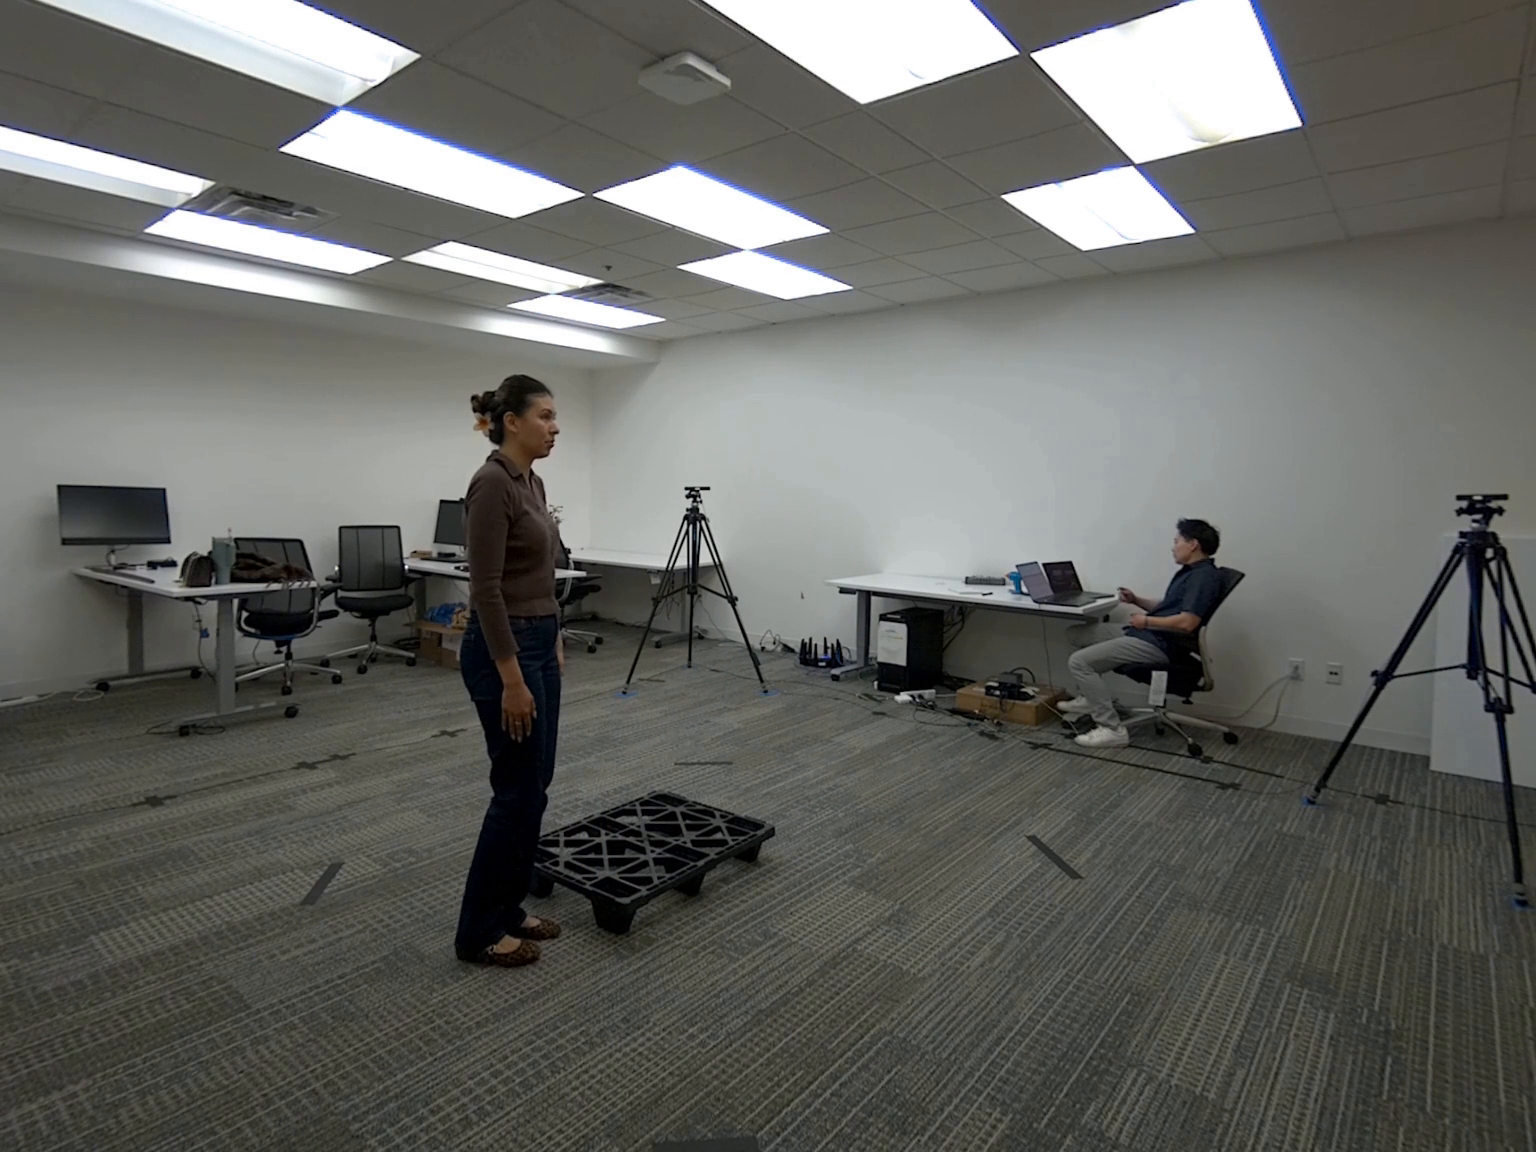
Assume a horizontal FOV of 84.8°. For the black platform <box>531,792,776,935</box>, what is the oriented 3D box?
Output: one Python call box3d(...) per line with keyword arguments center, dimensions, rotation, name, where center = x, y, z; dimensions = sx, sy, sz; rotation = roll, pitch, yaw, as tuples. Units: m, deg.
box3d(center=(-0.452, 1.001, 3.053), dimensions=(0.625, 0.143, 0.783), rotation=(4, 6, 37), name="black platform")
